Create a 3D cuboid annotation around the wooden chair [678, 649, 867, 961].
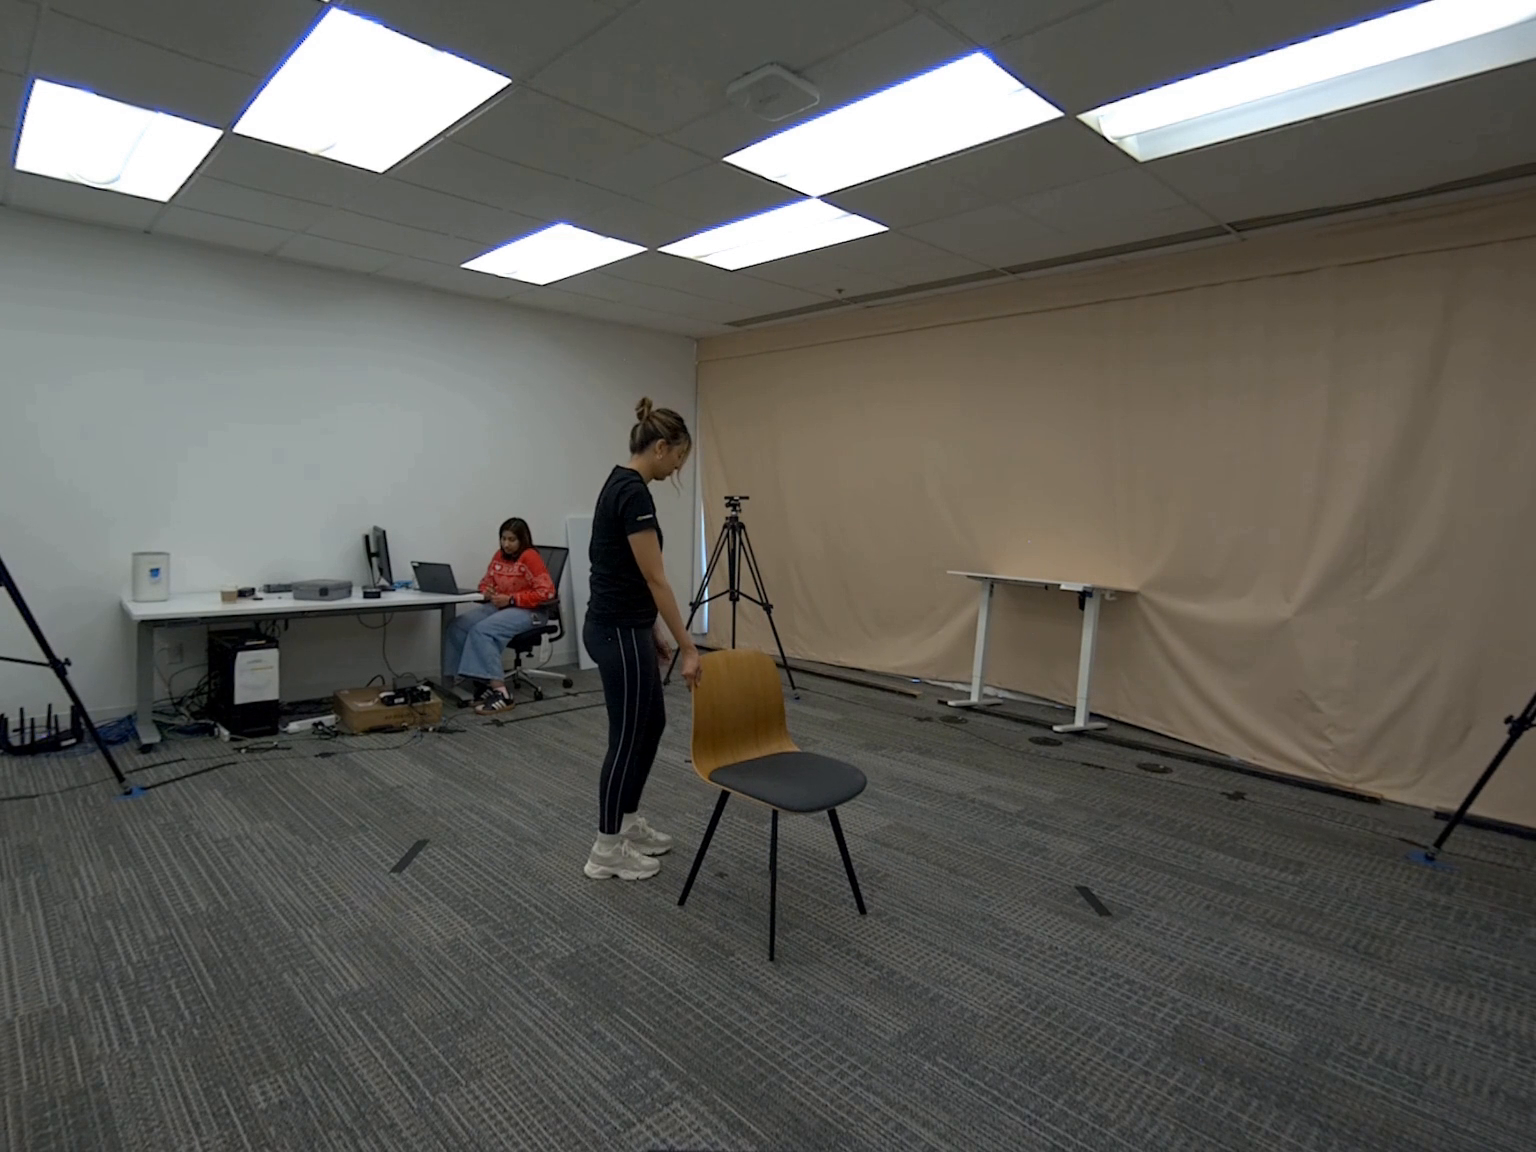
[{"bbox_3d":[0.024,0.707,2.807,0.467,0.877,0.535,-1,0,-43],"label":"wooden chair"}]
